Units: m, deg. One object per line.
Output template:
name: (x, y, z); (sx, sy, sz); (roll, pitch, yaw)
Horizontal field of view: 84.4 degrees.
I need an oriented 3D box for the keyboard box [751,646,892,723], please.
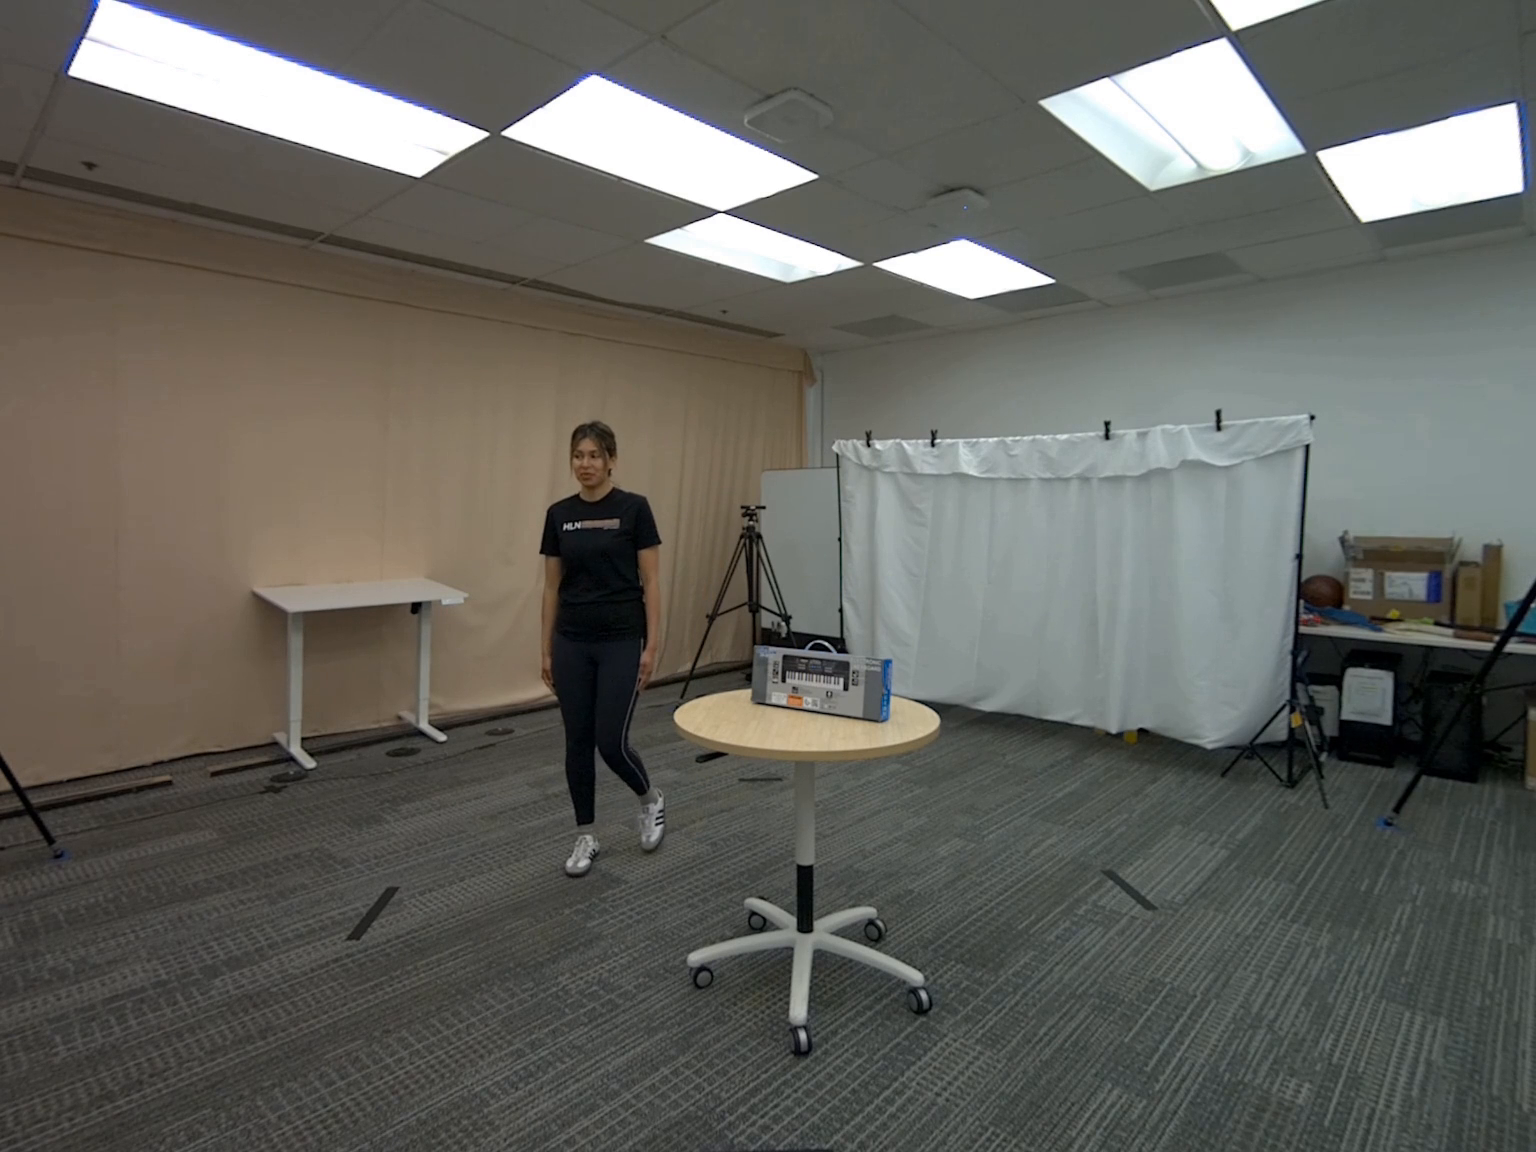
keyboard box: (0.156, 0.315, 2.489); (0.450, 0.176, 0.057); (2, -4, 35)
